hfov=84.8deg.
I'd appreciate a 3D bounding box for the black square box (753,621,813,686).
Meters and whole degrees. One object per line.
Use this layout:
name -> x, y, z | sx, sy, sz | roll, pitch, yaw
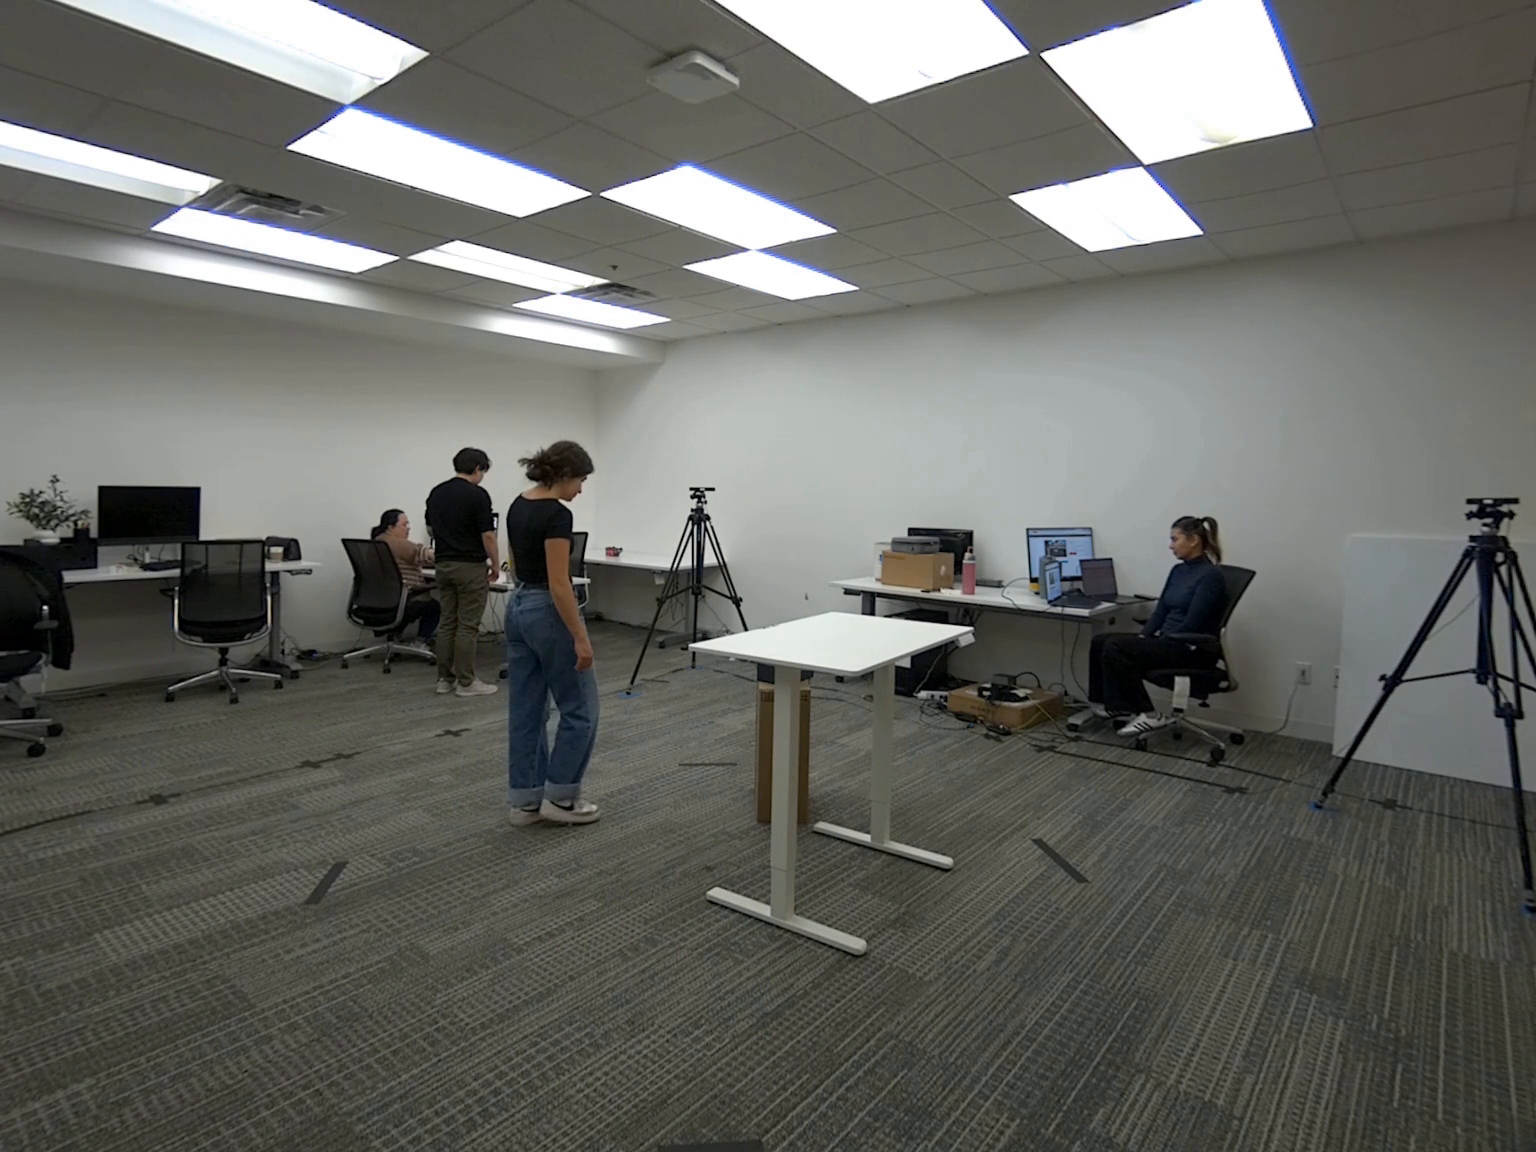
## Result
black square box -> 0.064, 0.334, 3.695 | 0.161, 0.227, 0.211 | 5, 6, 38
